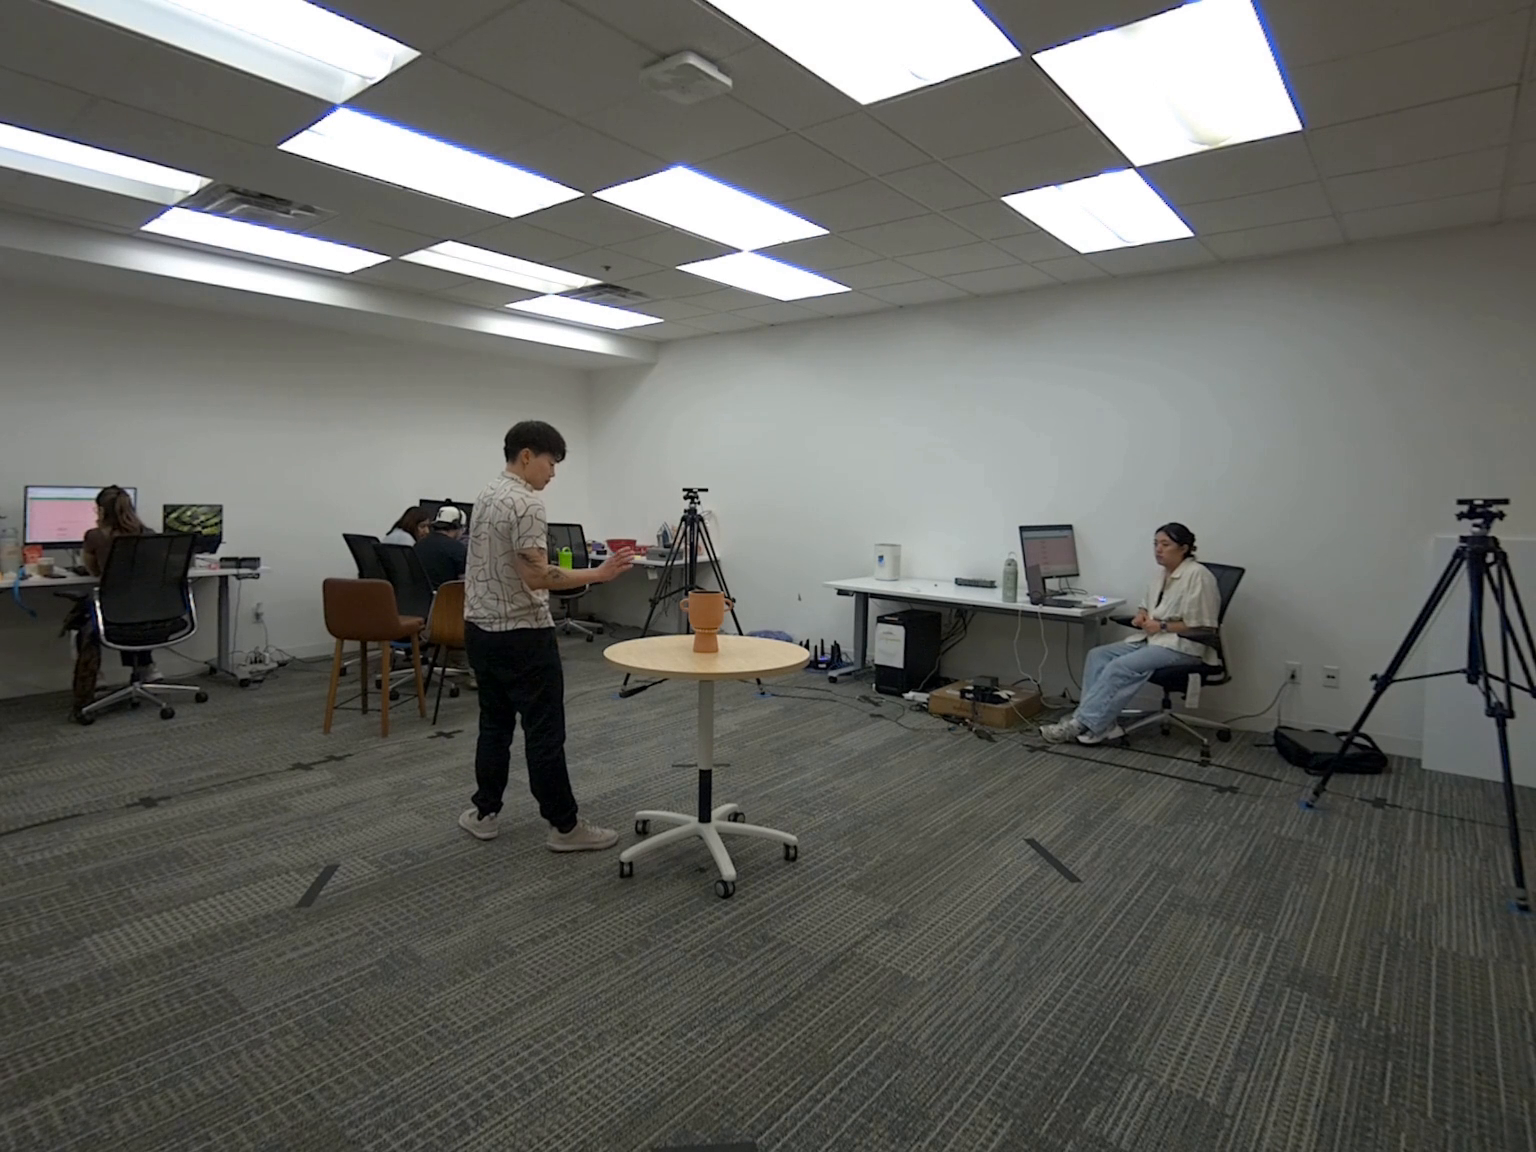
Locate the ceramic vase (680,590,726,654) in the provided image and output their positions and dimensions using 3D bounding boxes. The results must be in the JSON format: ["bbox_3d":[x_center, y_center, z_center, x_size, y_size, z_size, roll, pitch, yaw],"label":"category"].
[{"bbox_3d":[-0.242,0.168,3.185,0.163,0.219,0.131,3,4,30],"label":"ceramic vase"}]
